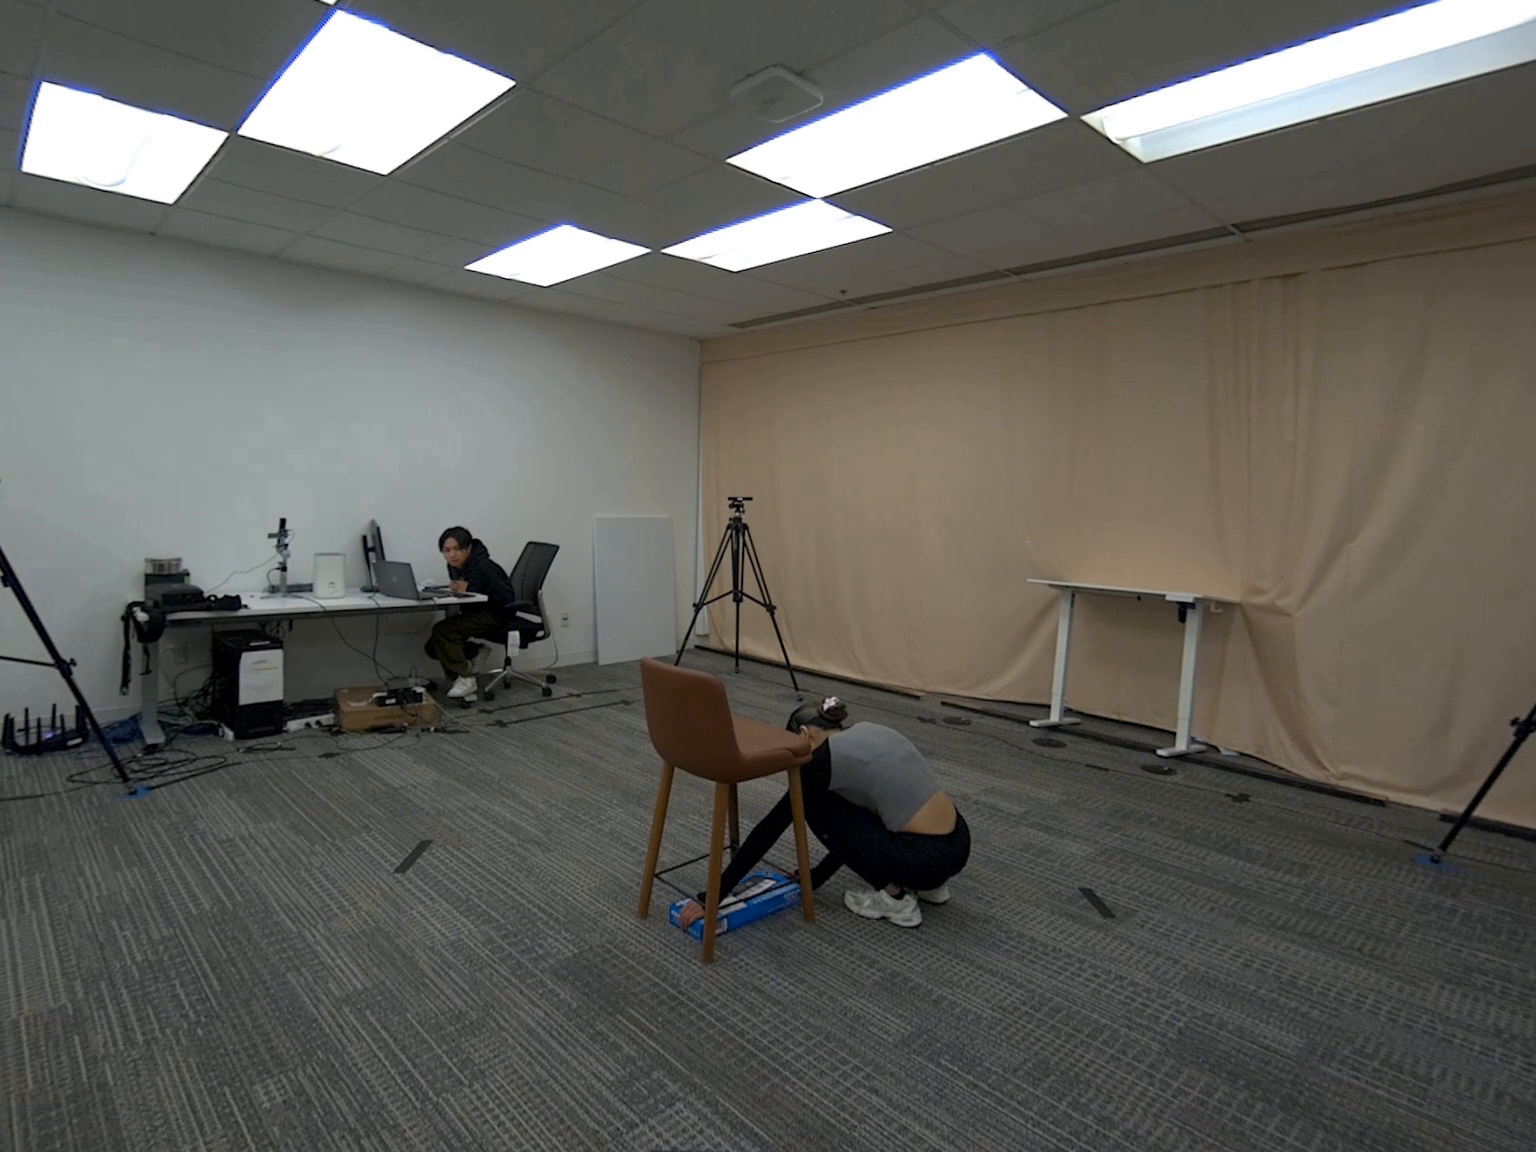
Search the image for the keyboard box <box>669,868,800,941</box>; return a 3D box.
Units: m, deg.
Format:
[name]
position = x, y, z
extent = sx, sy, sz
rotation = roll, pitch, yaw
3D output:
[keyboard box]
position = -0.103, 1.097, 2.835
extent = 0.427, 0.059, 0.180
rotation = -5, 8, -41
